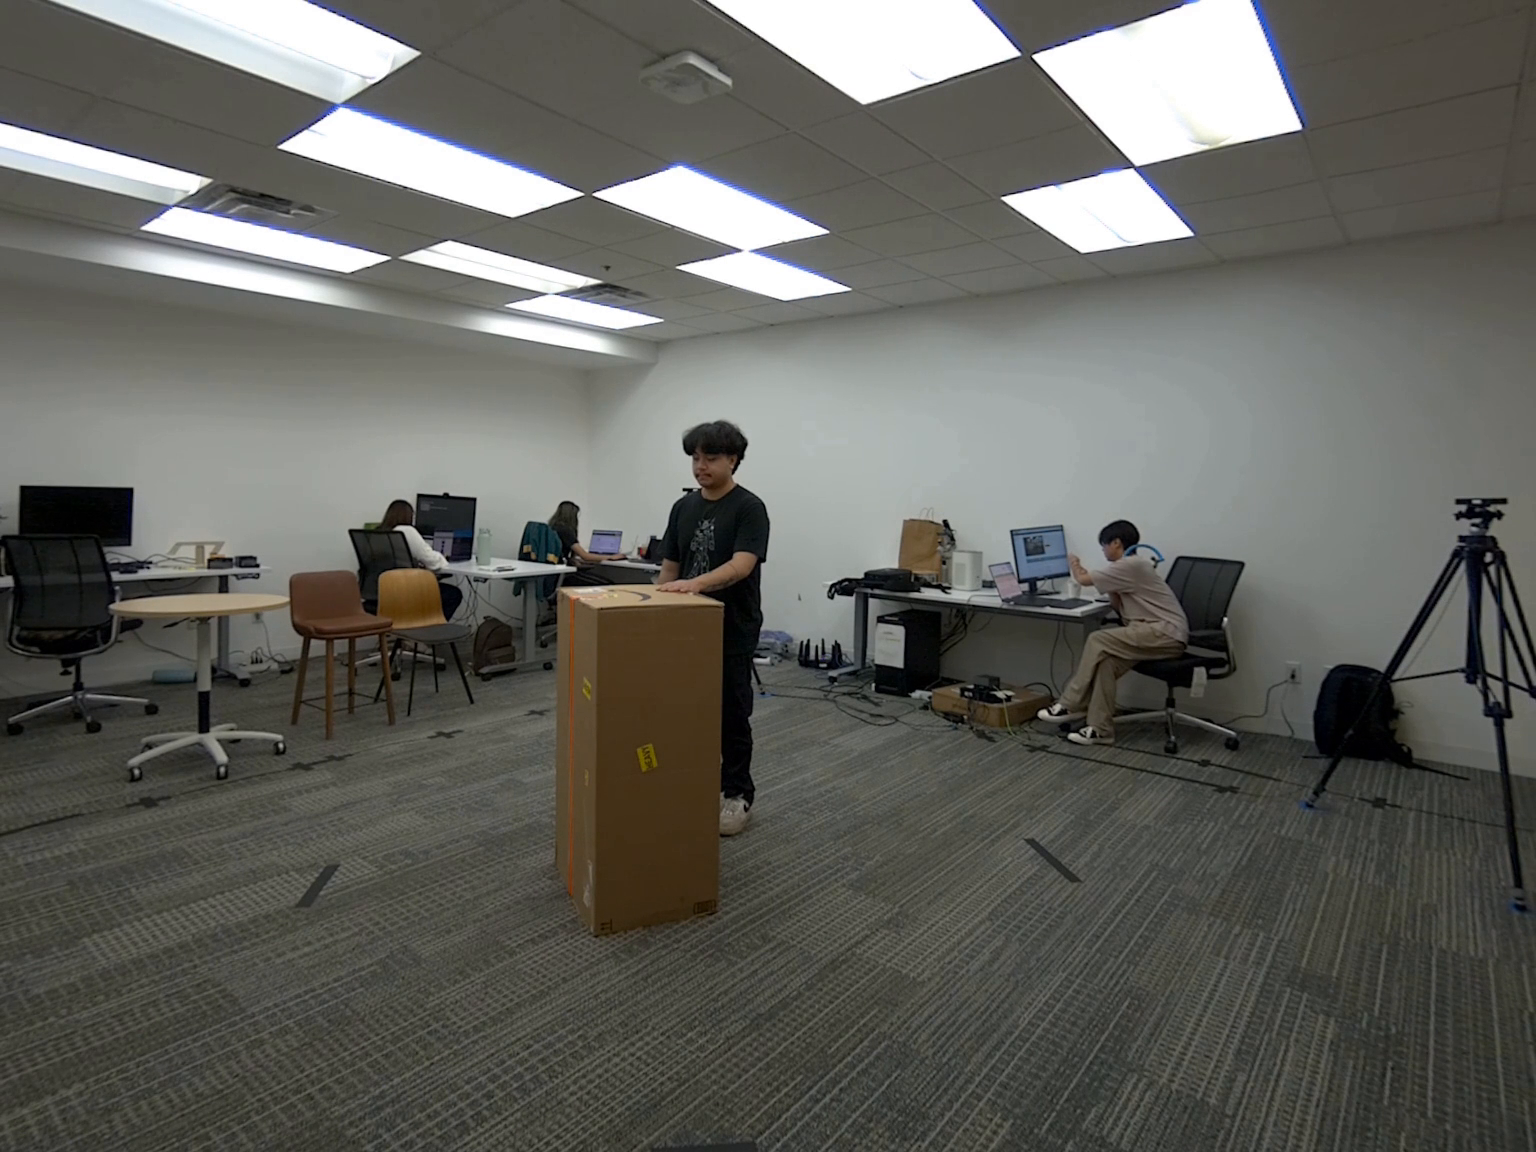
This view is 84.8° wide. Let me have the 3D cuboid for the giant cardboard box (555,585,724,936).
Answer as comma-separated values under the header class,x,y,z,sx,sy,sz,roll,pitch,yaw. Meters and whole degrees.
class,x,y,z,sx,sy,sz,roll,pitch,yaw
giant cardboard box,-0.478,0.569,2.939,0.436,1.024,0.599,-1,4,-25
